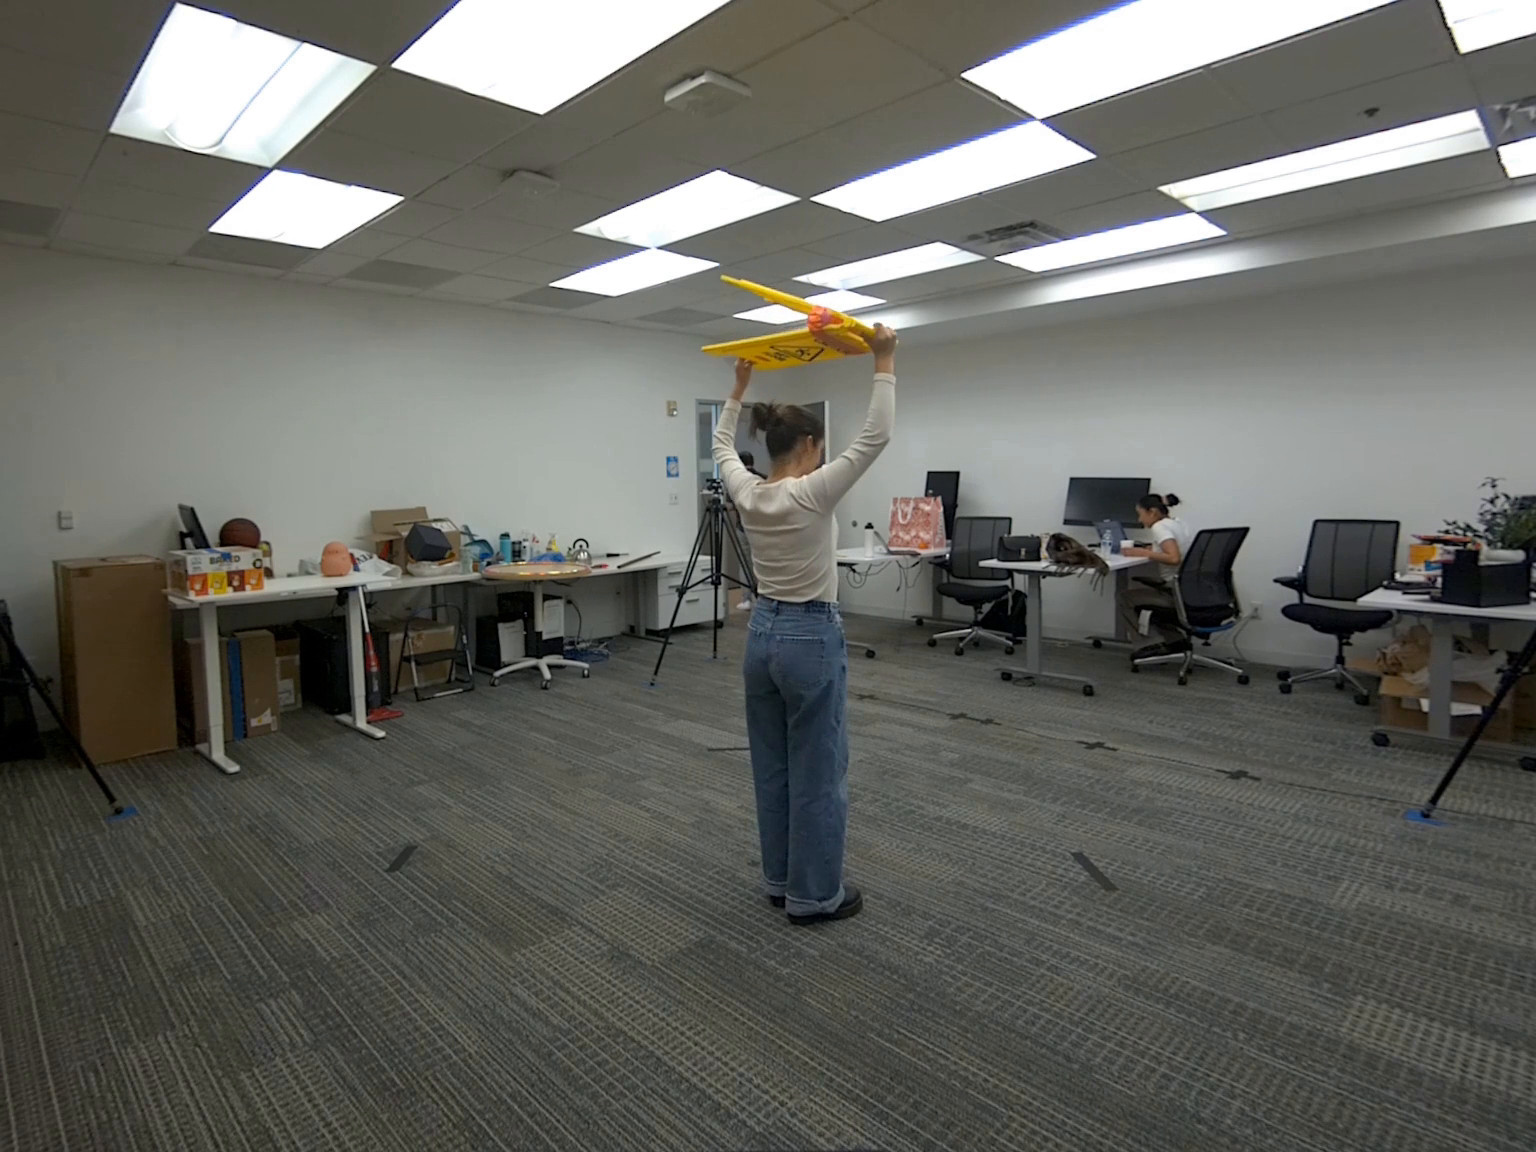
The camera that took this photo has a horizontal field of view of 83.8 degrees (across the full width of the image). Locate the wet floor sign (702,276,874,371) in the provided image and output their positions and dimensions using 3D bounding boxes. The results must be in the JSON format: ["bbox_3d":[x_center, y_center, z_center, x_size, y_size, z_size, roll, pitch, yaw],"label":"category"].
[{"bbox_3d":[0.117,-0.786,2.708,0.273,0.289,0.670,9,7,-42],"label":"wet floor sign"}]
